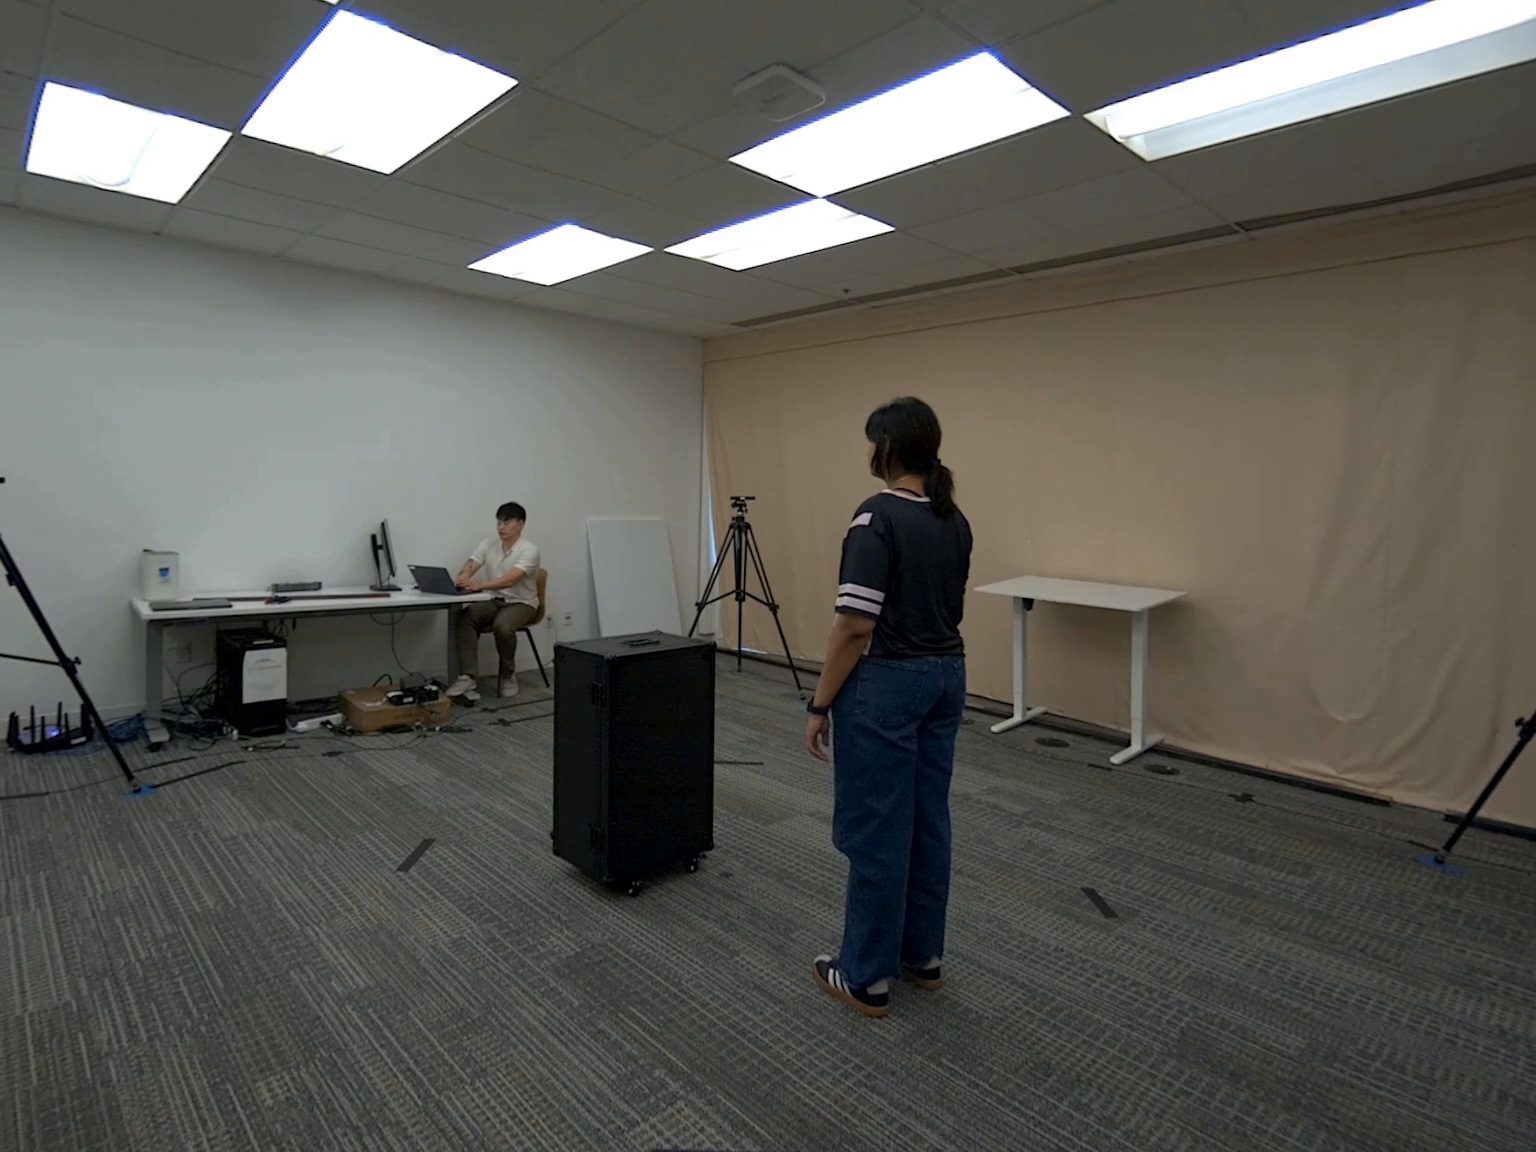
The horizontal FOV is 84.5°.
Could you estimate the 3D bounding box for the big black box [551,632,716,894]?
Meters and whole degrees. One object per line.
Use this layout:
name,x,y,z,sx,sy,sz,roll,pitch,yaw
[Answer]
big black box,-0.507,0.675,3.105,0.511,0.867,0.395,-2,4,-44
